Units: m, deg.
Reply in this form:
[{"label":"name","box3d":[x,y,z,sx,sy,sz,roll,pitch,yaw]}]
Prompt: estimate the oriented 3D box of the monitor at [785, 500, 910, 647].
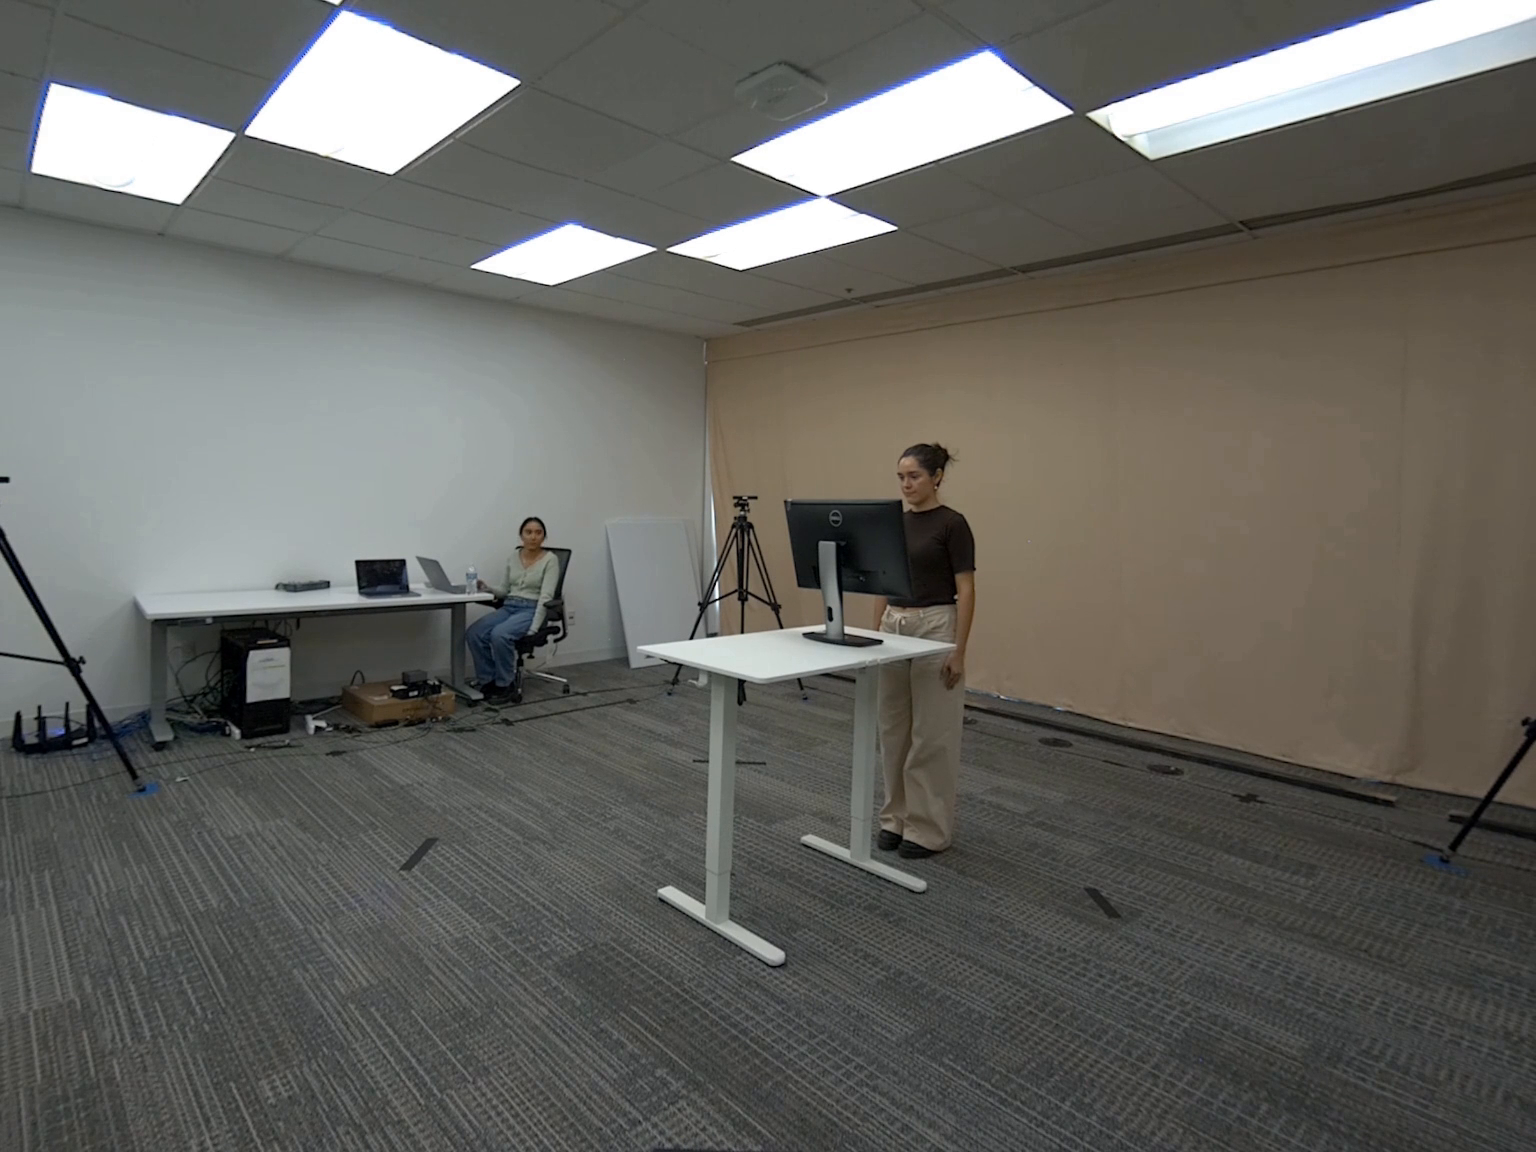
[{"label":"monitor","box3d":[0.259,-0.015,3.042,0.553,0.521,0.183,4,7,44]}]
